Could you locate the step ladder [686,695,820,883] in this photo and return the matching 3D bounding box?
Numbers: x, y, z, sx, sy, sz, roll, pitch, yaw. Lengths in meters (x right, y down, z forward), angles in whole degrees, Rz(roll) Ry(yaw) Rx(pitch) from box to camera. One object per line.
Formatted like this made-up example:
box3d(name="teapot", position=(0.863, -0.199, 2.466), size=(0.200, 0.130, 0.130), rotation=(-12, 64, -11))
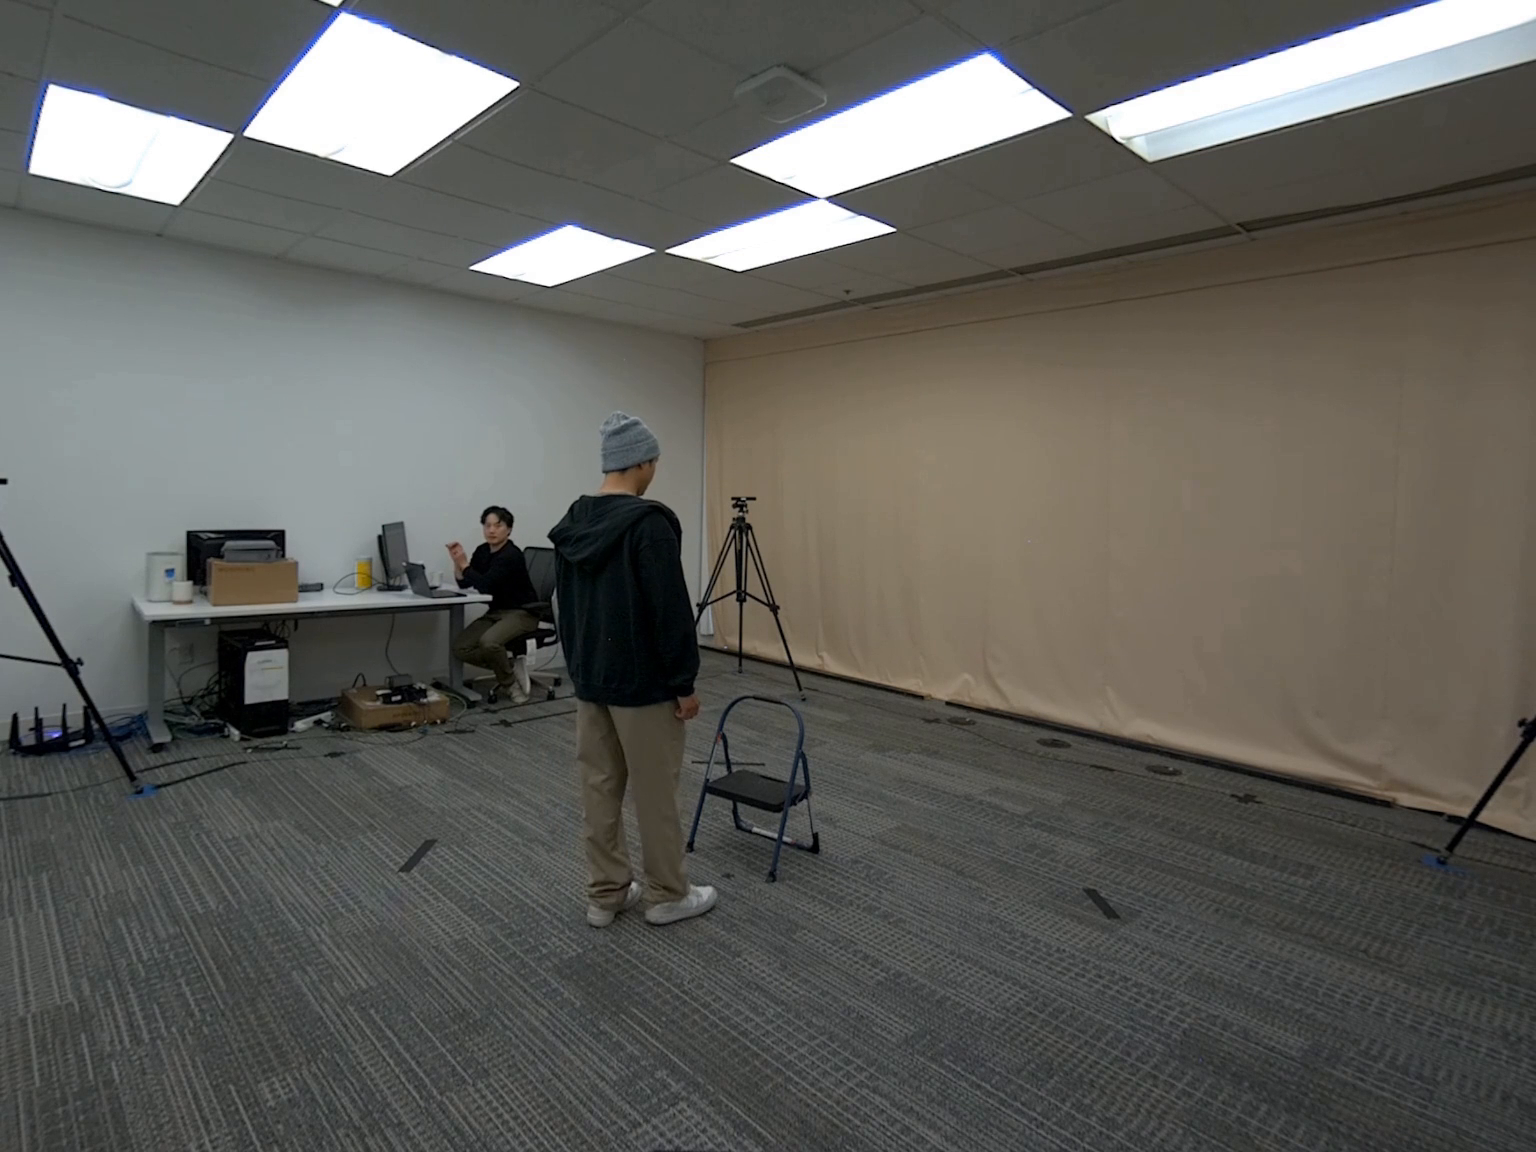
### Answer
box3d(name="step ladder", position=(-0.055, 0.788, 3.305), size=(0.441, 0.604, 0.342), rotation=(4, 5, 36))
